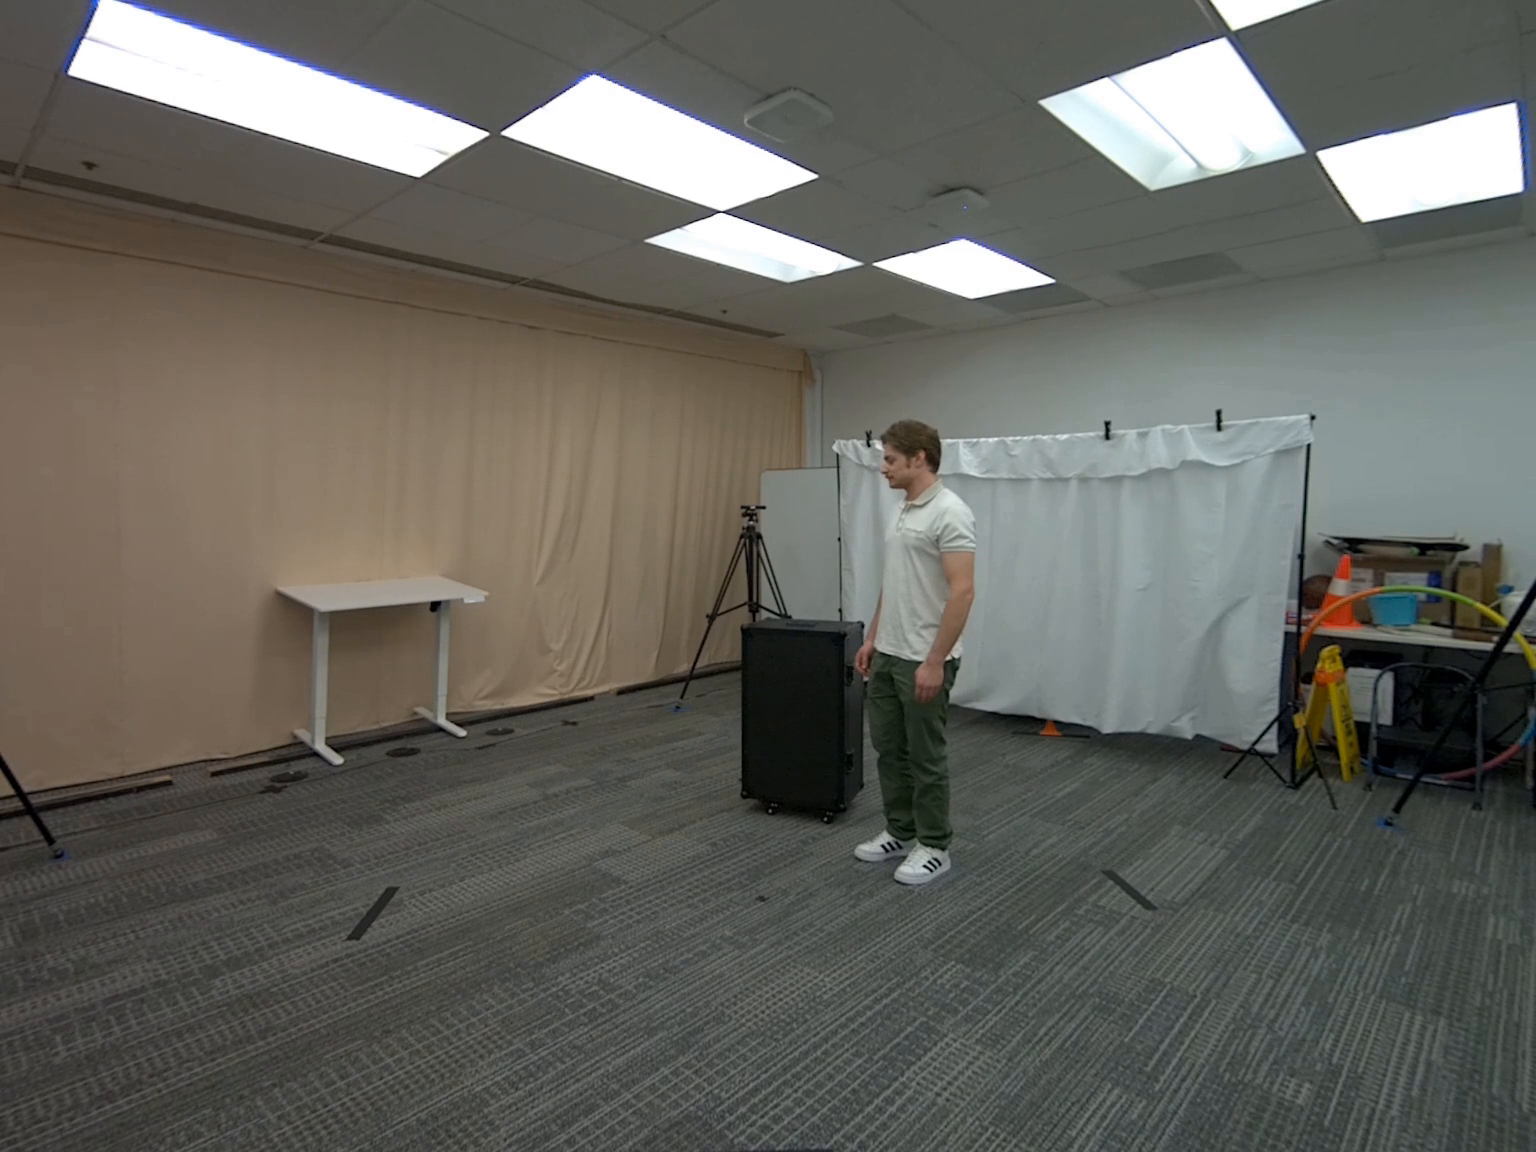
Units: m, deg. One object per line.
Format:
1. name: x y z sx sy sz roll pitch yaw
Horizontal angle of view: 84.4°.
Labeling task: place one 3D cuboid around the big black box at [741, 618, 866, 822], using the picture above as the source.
1. big black box: 0.163 0.645 3.881 0.535 0.867 0.377 1 3 21
